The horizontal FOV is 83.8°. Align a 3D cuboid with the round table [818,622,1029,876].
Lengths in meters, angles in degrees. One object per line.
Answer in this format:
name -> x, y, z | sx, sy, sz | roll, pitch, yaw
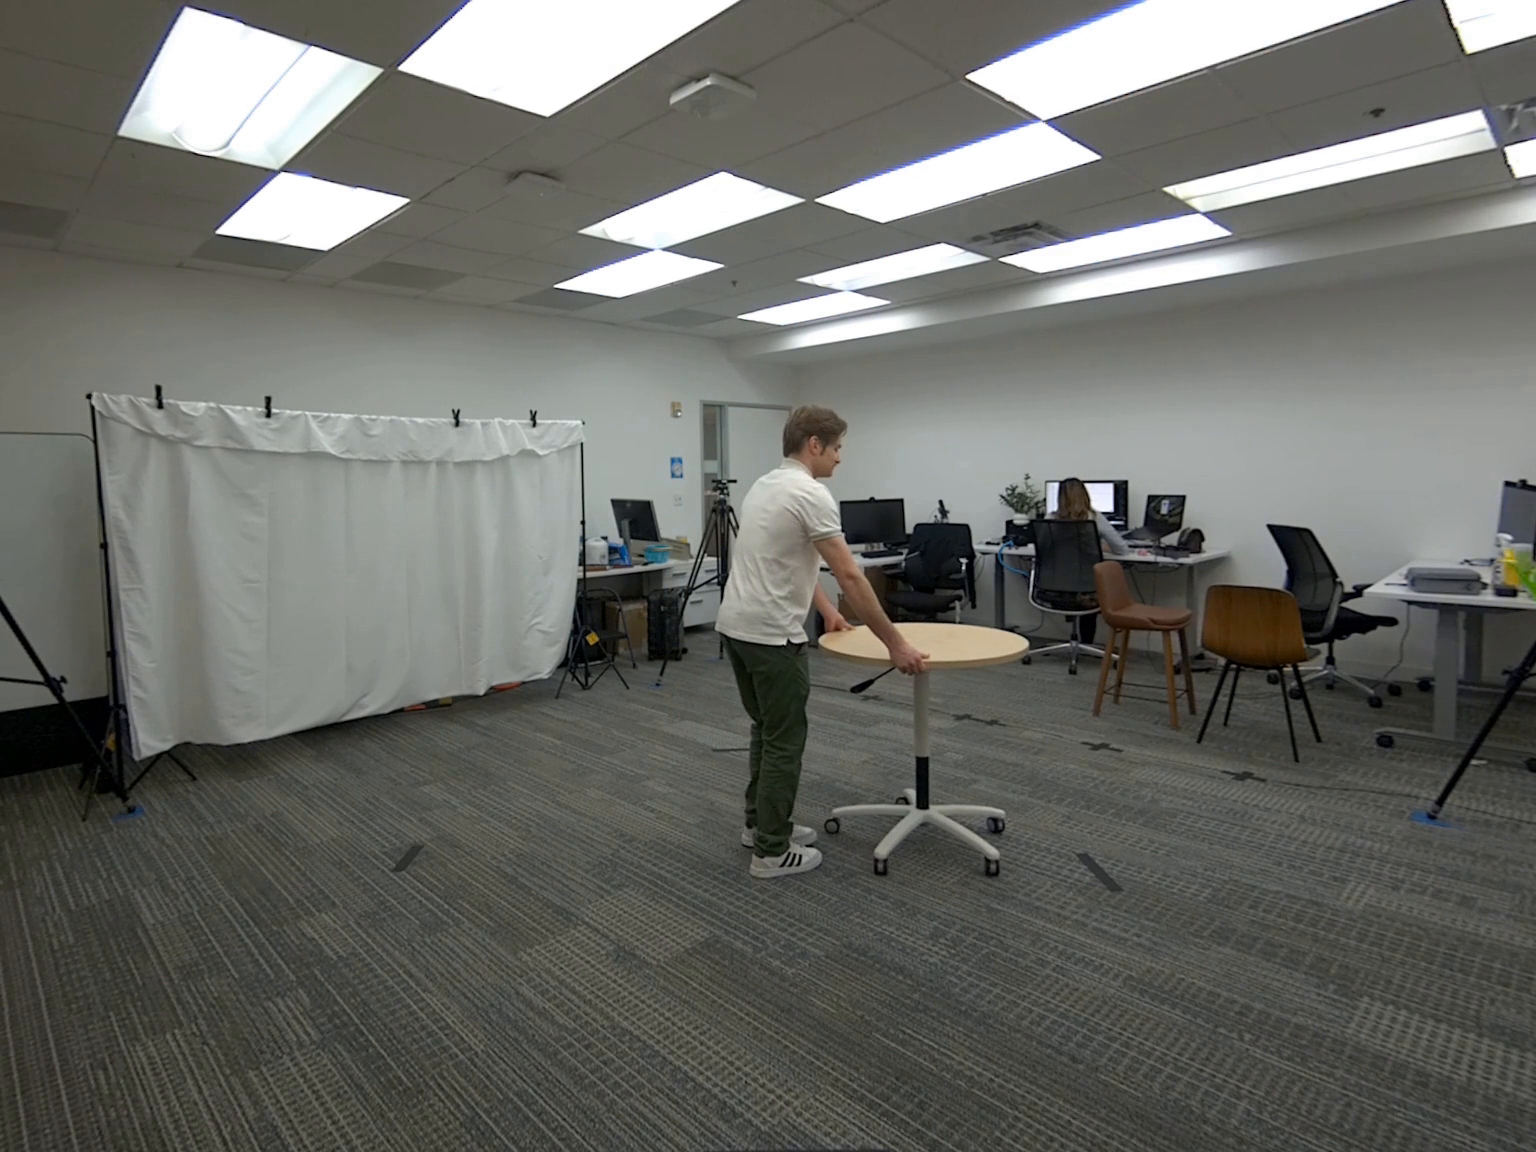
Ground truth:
round table -> 0.580, 0.633, 3.233 | 0.763, 0.791, 0.768 | -1, 4, -2
